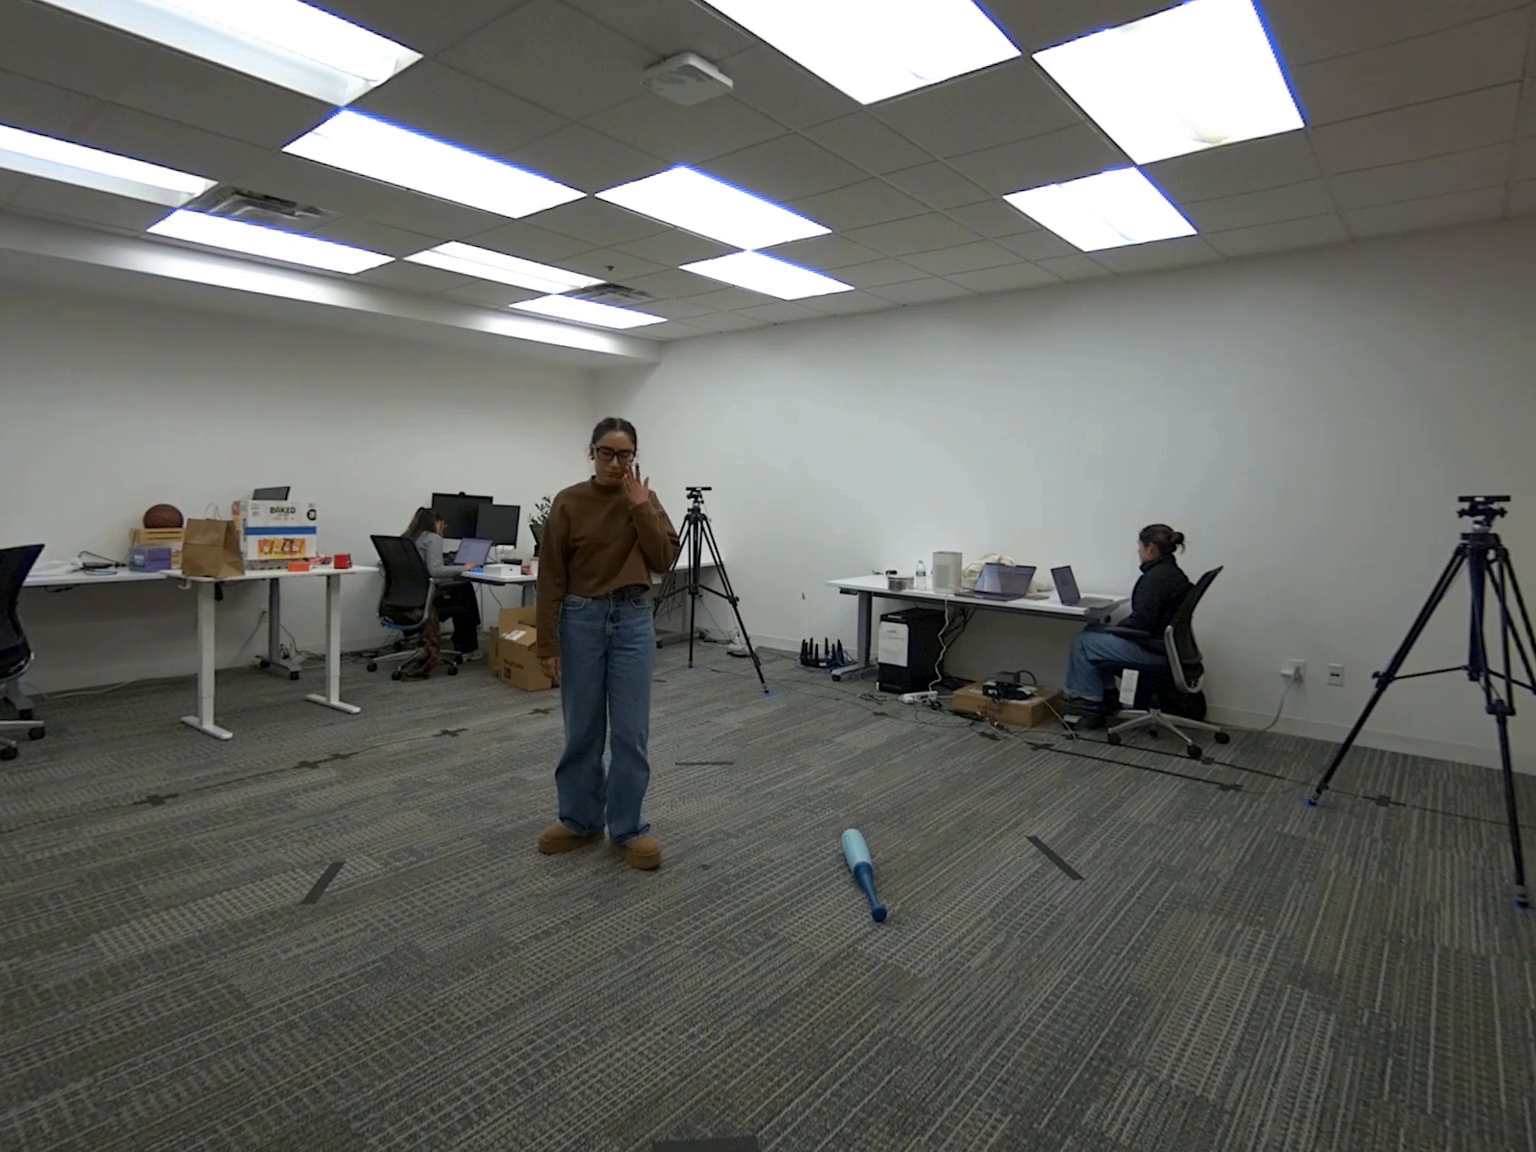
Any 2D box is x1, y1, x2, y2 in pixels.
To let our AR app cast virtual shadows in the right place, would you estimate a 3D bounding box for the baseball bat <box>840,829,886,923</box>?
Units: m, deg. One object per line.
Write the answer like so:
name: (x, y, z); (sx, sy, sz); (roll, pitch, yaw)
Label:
baseball bat: (0.334, 1.054, 3.006); (0.089, 0.088, 0.548); (0, 9, -4)
